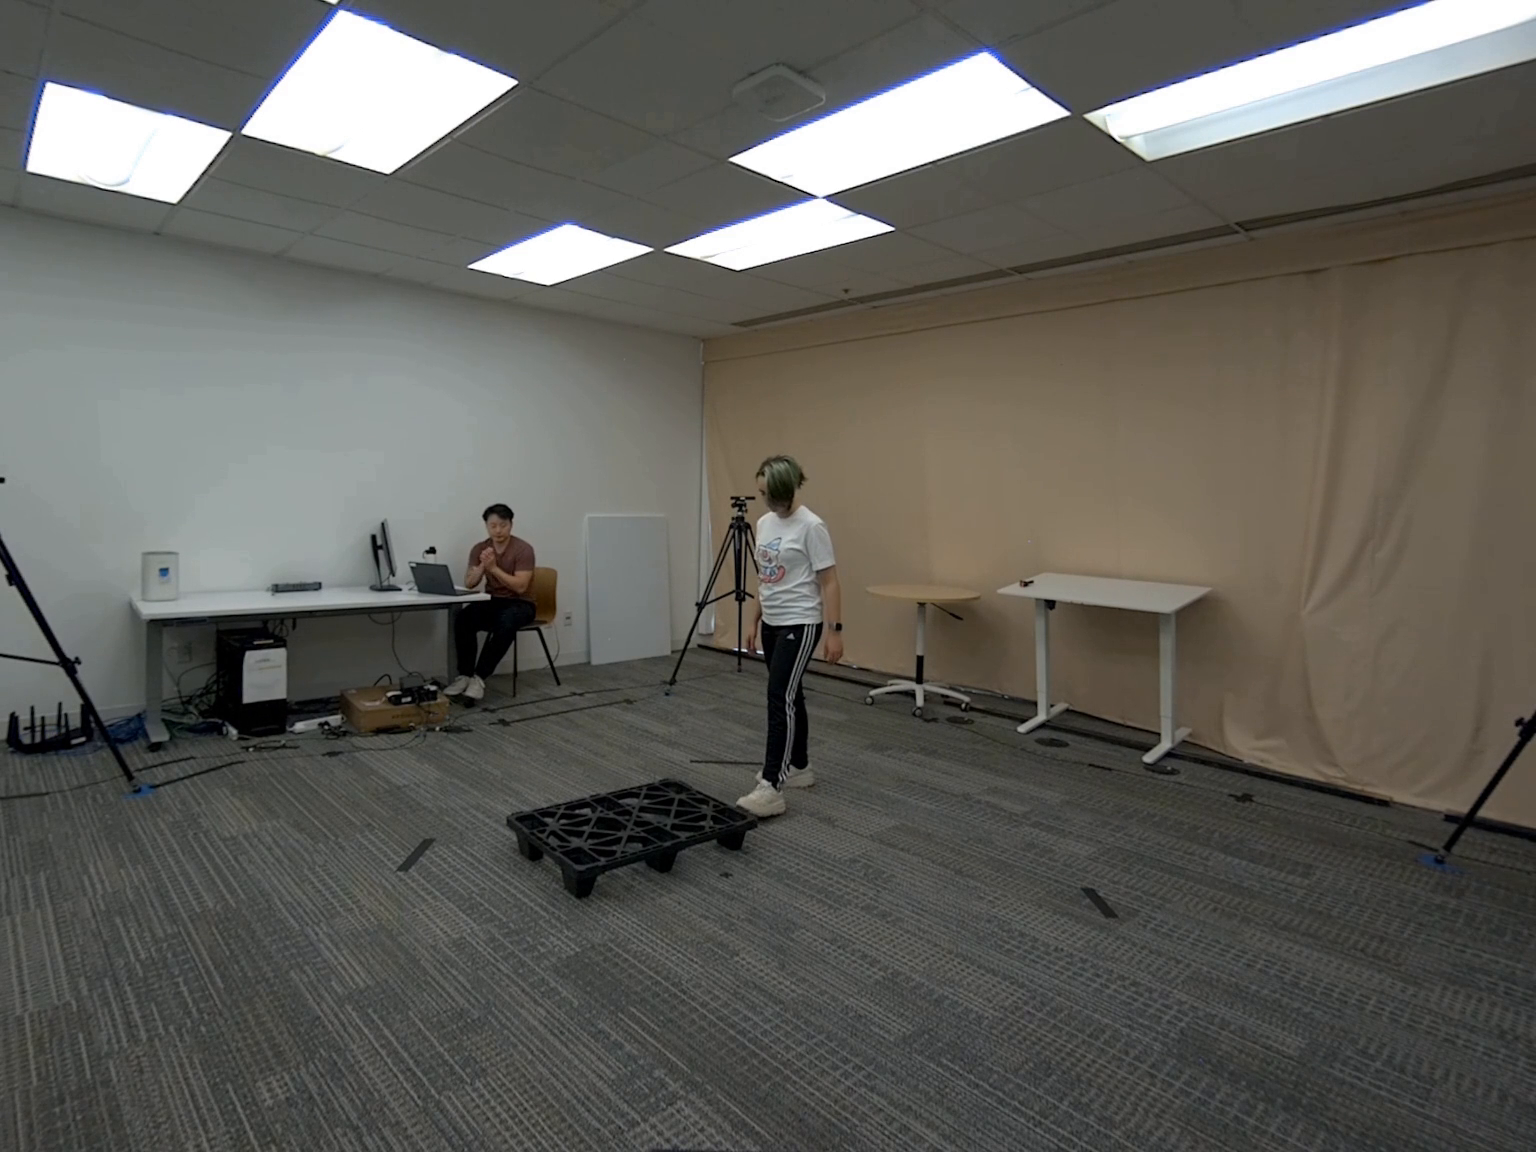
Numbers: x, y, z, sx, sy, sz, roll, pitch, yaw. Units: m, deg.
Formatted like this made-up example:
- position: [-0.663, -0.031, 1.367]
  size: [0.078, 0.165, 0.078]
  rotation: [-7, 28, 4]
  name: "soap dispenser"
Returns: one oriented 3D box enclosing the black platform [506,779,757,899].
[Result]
- position: [-0.543, 1.012, 3.297]
  size: [0.787, 0.143, 0.620]
  rotation: [-3, 6, -40]
  name: "black platform"
